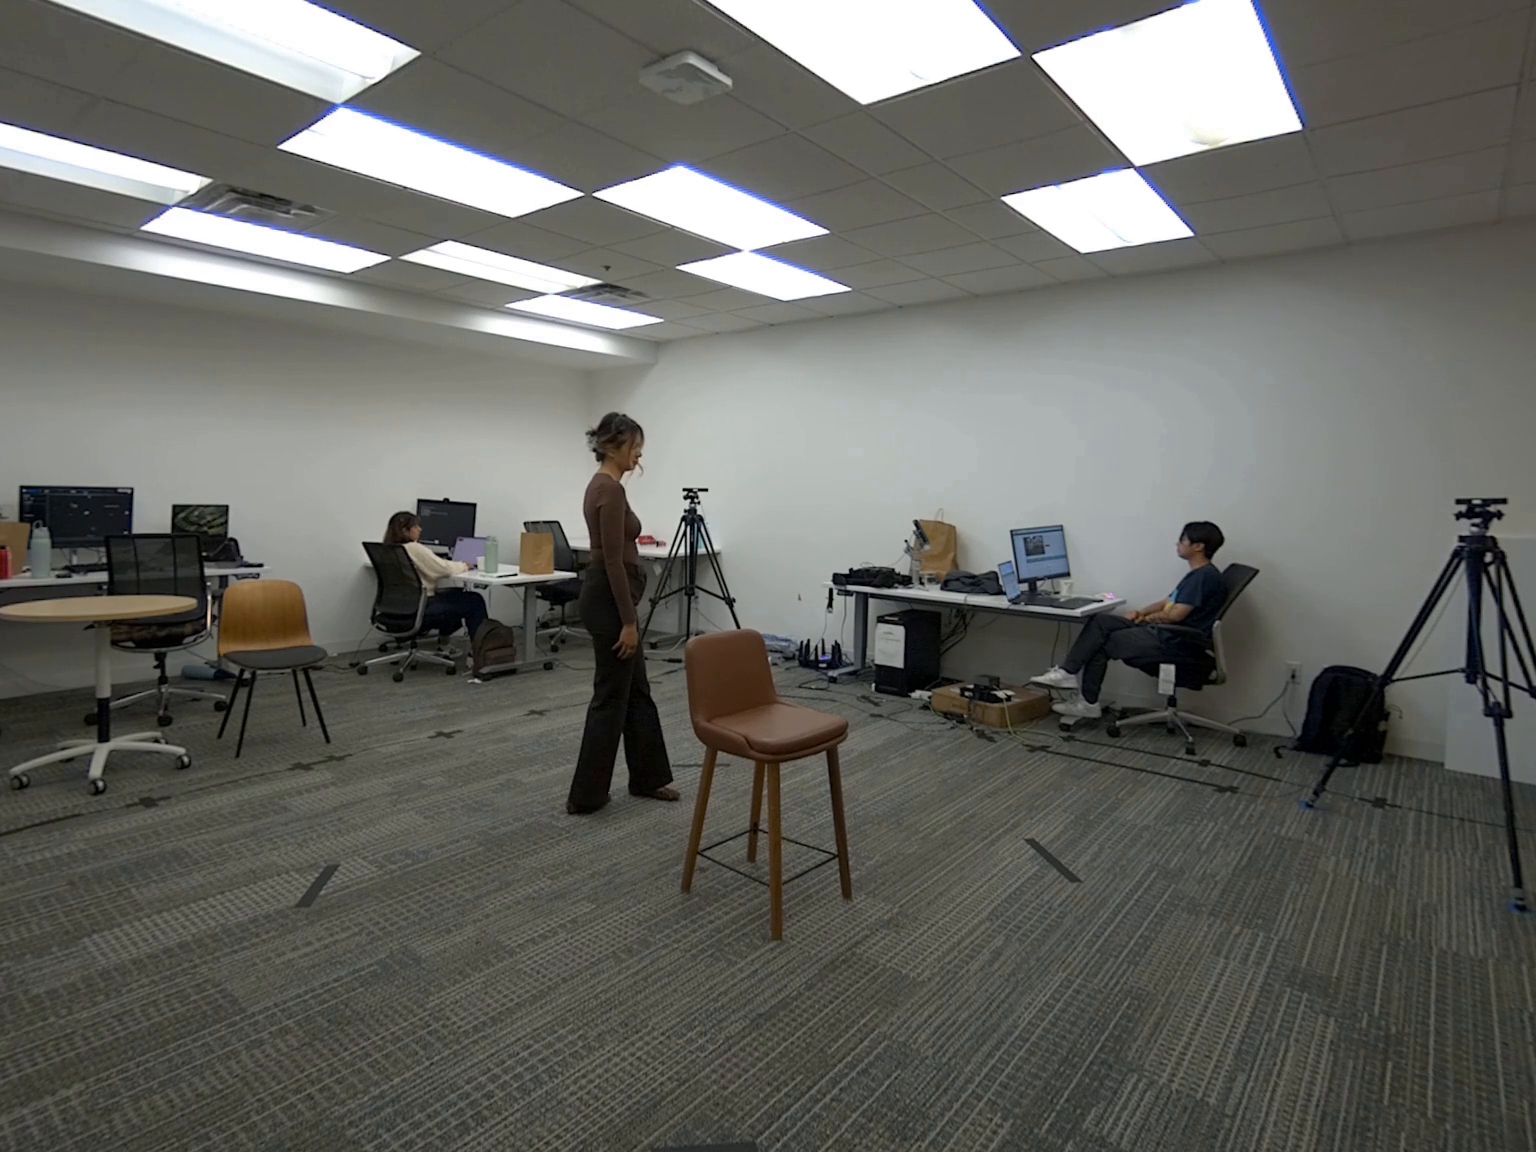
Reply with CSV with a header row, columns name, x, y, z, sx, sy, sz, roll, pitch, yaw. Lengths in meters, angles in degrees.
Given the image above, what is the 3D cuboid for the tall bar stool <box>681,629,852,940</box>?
name,x,y,z,sx,sy,sz,roll,pitch,yaw
tall bar stool,-0.012,0.660,2.902,0.483,0.889,0.442,2,2,41
